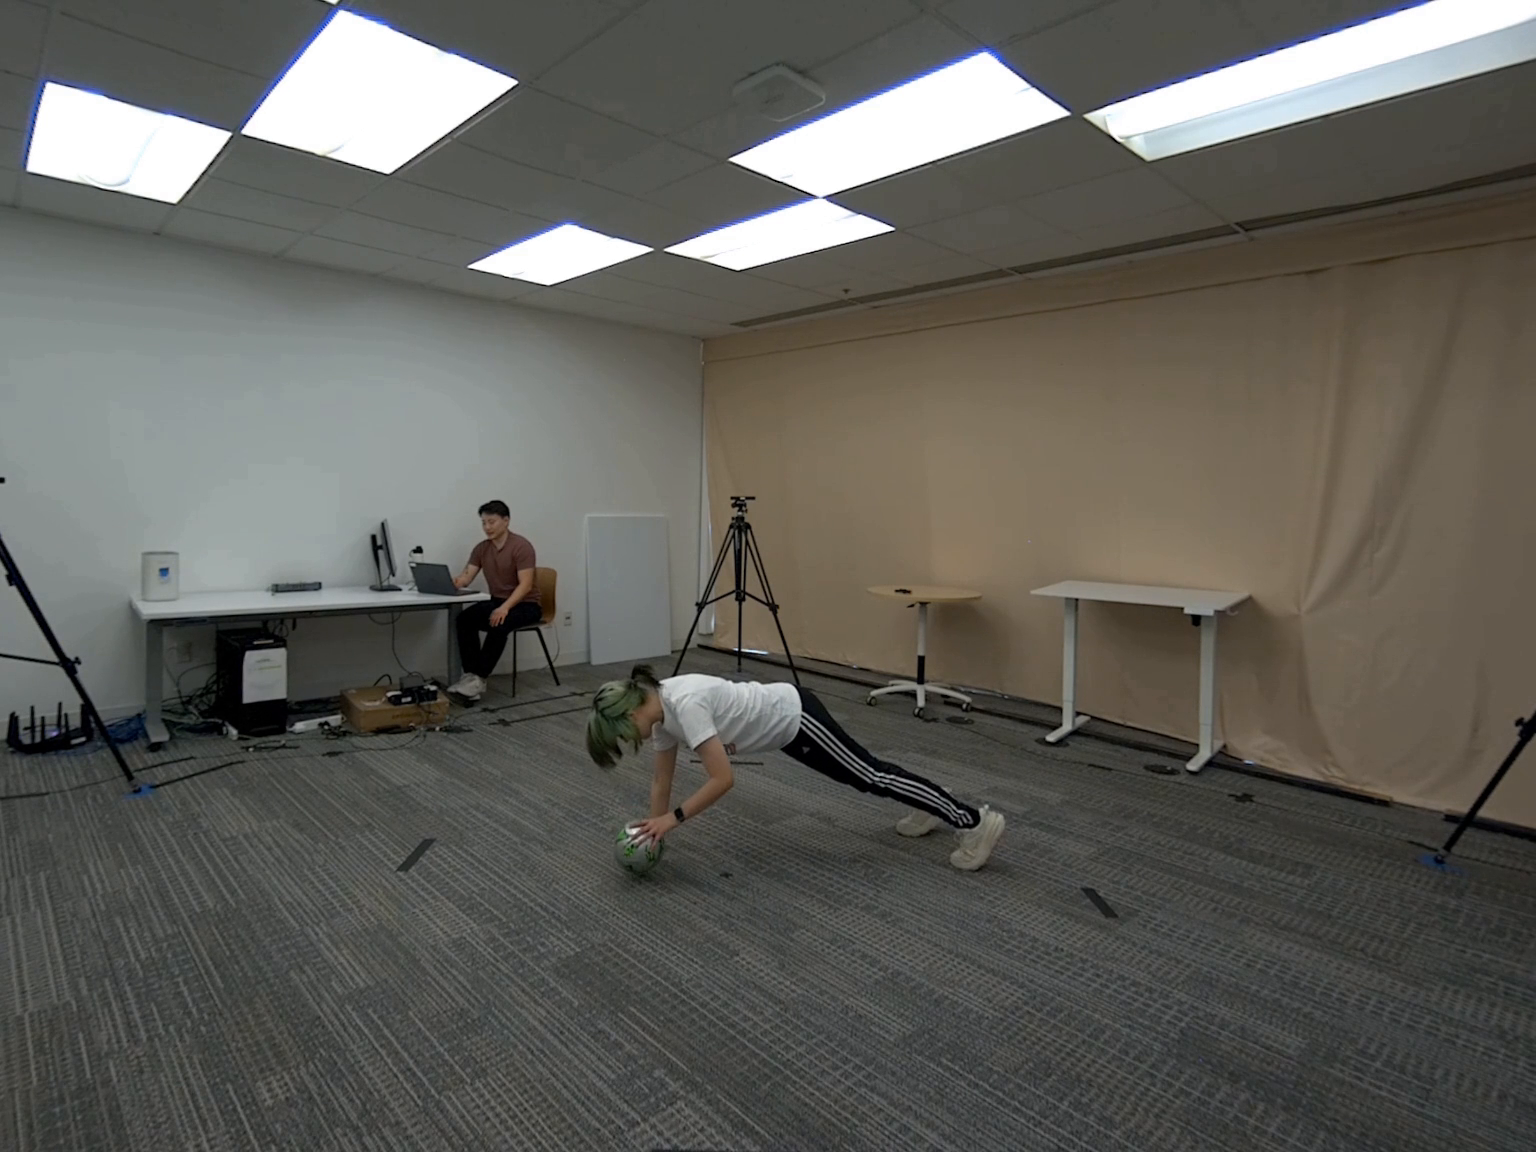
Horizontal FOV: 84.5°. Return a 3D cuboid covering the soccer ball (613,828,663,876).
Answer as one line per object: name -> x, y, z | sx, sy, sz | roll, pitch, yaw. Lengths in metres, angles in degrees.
soccer ball -> -0.480, 0.984, 3.056 | 0.187, 0.187, 0.188 | 1, 4, -1
